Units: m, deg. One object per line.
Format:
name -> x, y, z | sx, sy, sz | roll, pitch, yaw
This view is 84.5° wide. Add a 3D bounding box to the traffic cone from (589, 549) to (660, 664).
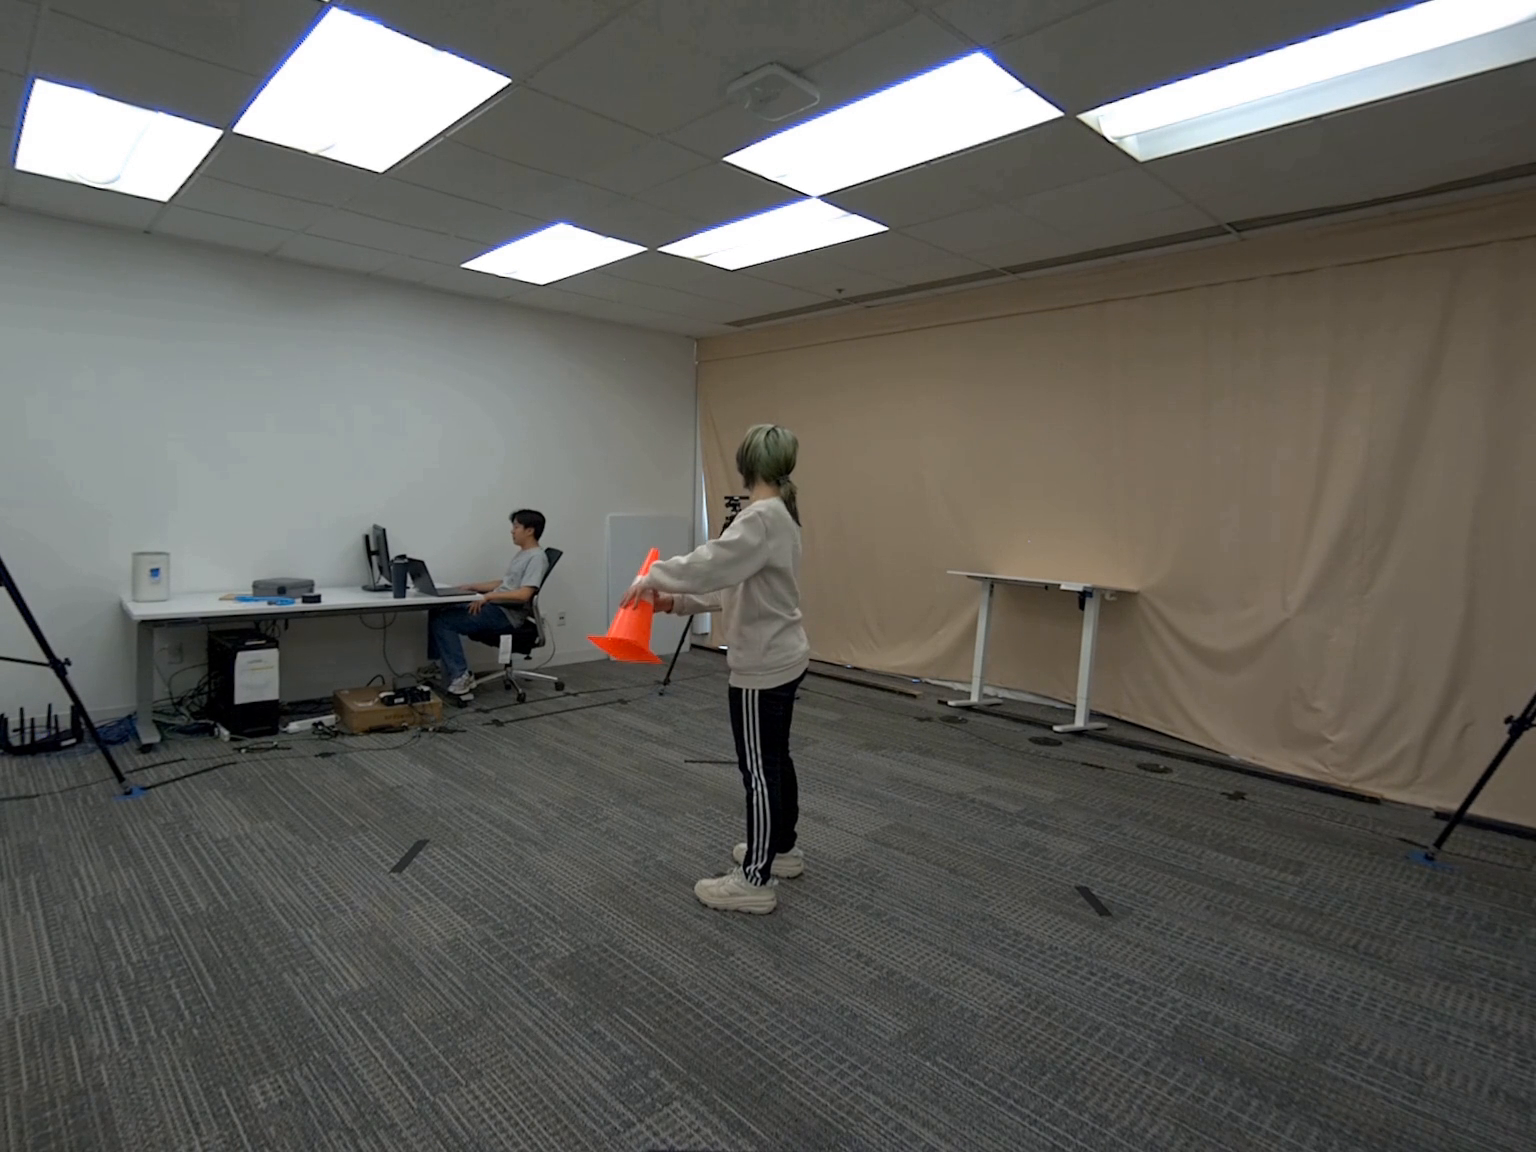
traffic cone -> -0.428, 0.074, 2.857 | 0.207, 0.388, 0.198 | -4, -31, 33
